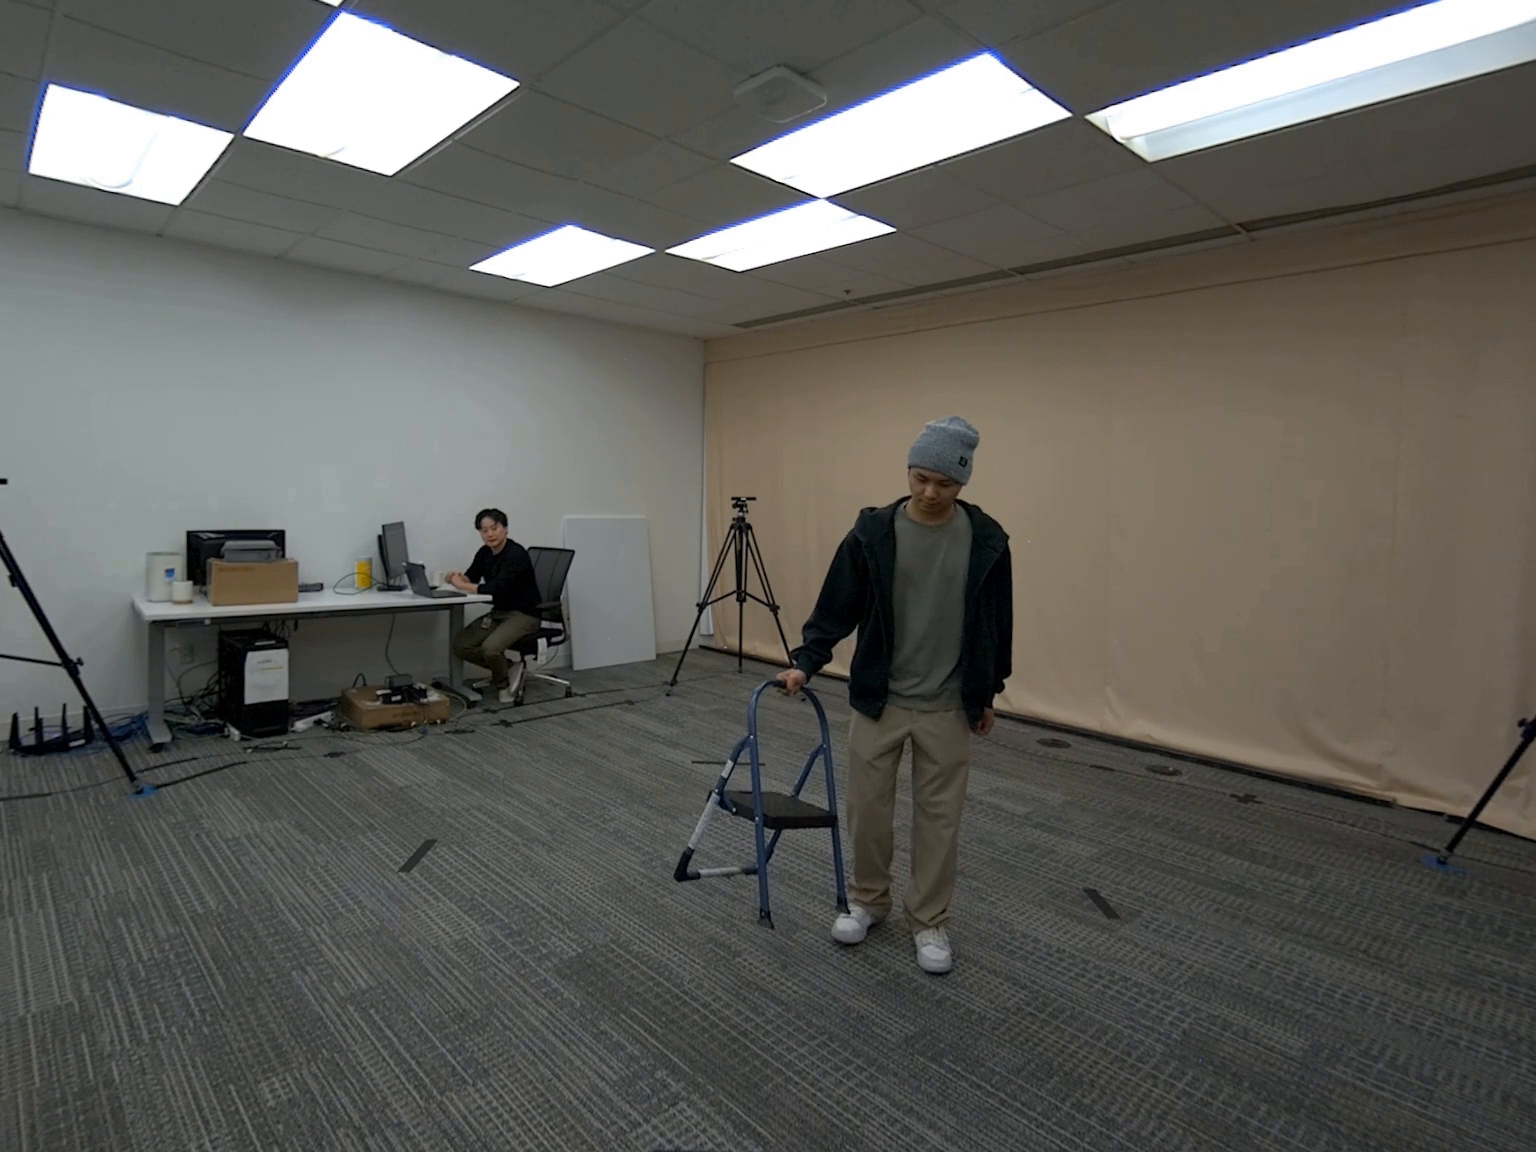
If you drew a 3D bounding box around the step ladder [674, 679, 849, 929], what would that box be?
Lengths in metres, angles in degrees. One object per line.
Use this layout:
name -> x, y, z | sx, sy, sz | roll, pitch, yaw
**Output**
step ladder -> 0.036, 0.629, 2.427 | 0.358, 0.608, 0.418 | 9, -8, 37
